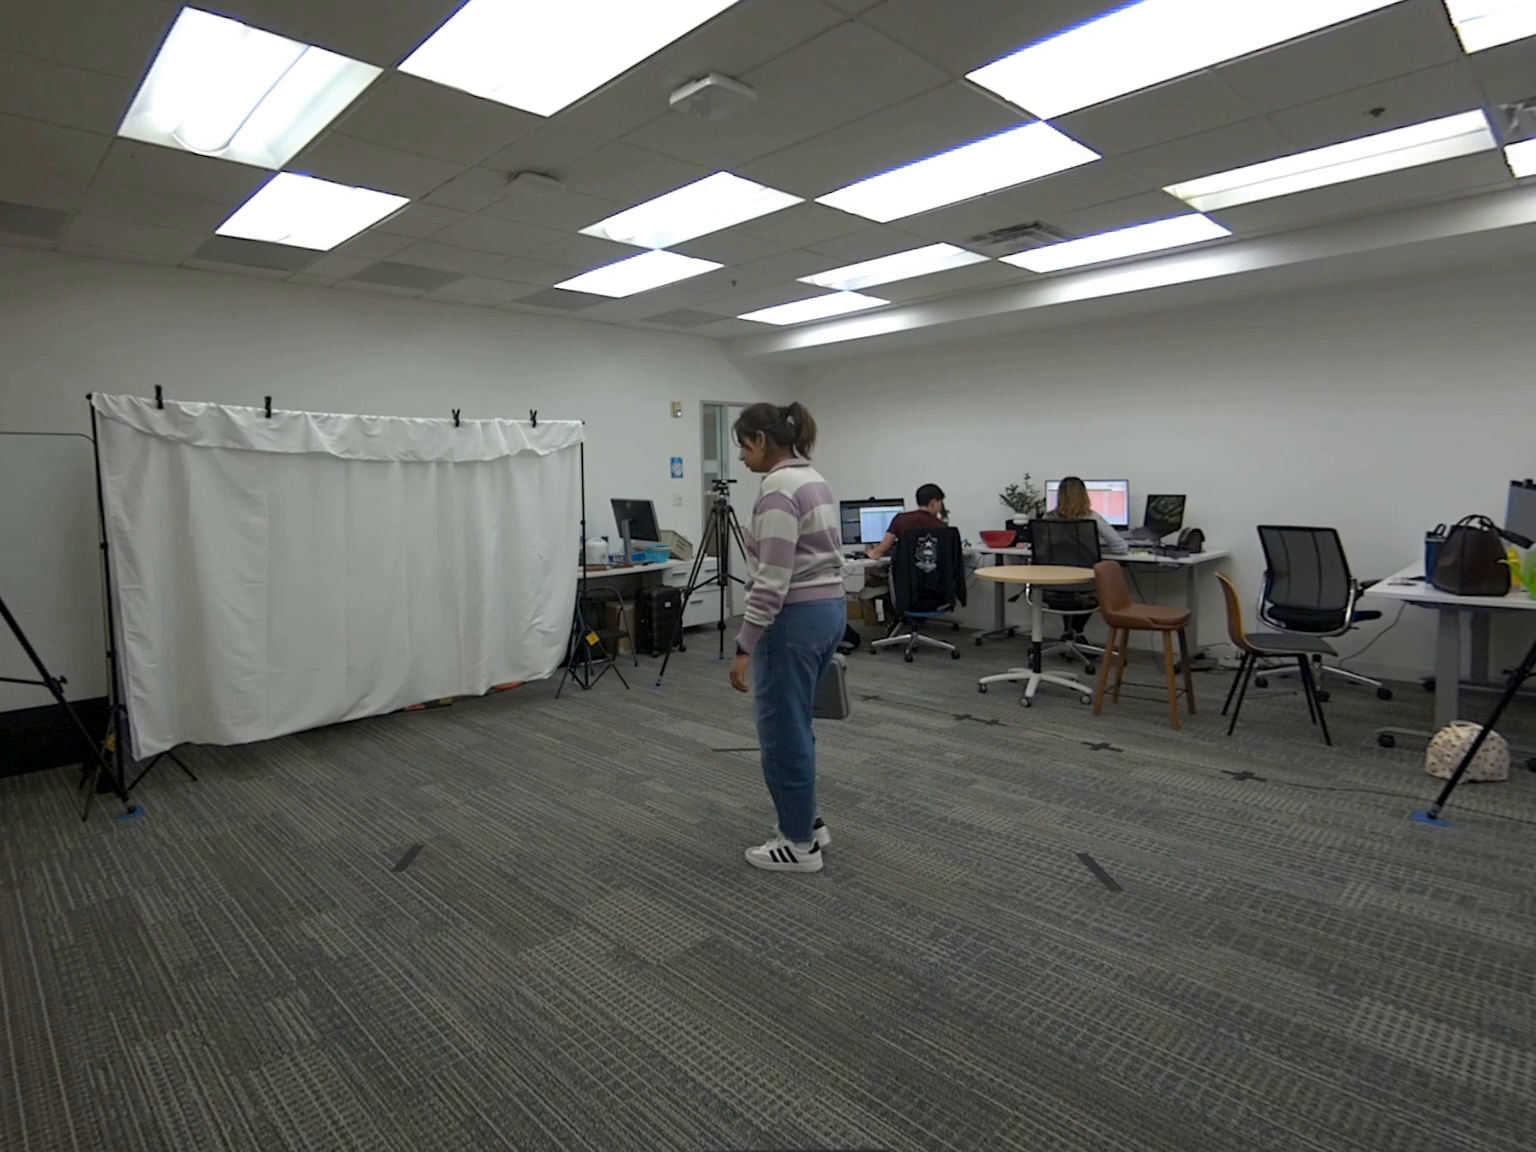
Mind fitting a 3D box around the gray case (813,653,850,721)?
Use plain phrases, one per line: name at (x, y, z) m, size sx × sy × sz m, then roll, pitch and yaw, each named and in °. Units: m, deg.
gray case at (0.195, 0.438, 3.421) m, size 0.263 × 0.258 × 0.103 m, roll -2°, pitch 9°, yaw 28°
